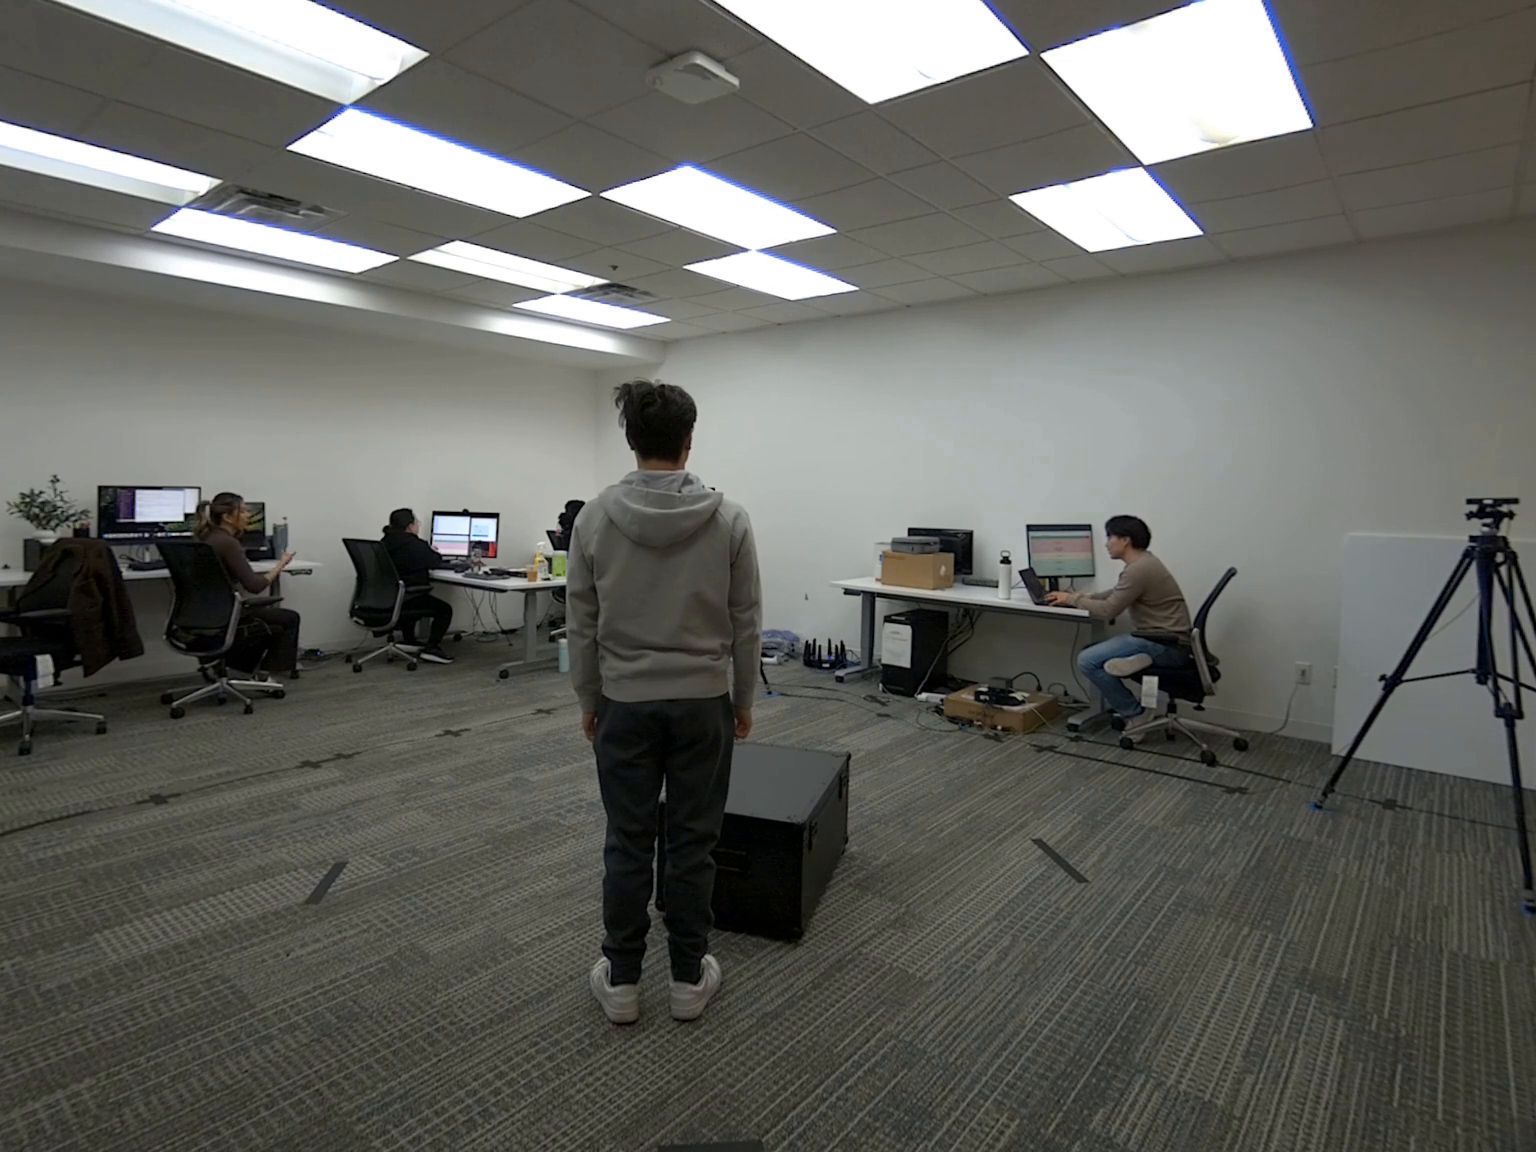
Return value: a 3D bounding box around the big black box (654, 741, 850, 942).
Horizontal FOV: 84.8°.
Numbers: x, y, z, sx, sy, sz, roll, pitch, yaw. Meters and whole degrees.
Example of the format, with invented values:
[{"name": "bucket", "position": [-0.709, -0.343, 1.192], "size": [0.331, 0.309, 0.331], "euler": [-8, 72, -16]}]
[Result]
[{"name": "big black box", "position": [-0.039, 0.890, 2.992], "size": [0.531, 0.395, 0.848], "euler": [2, 4, 17]}]
